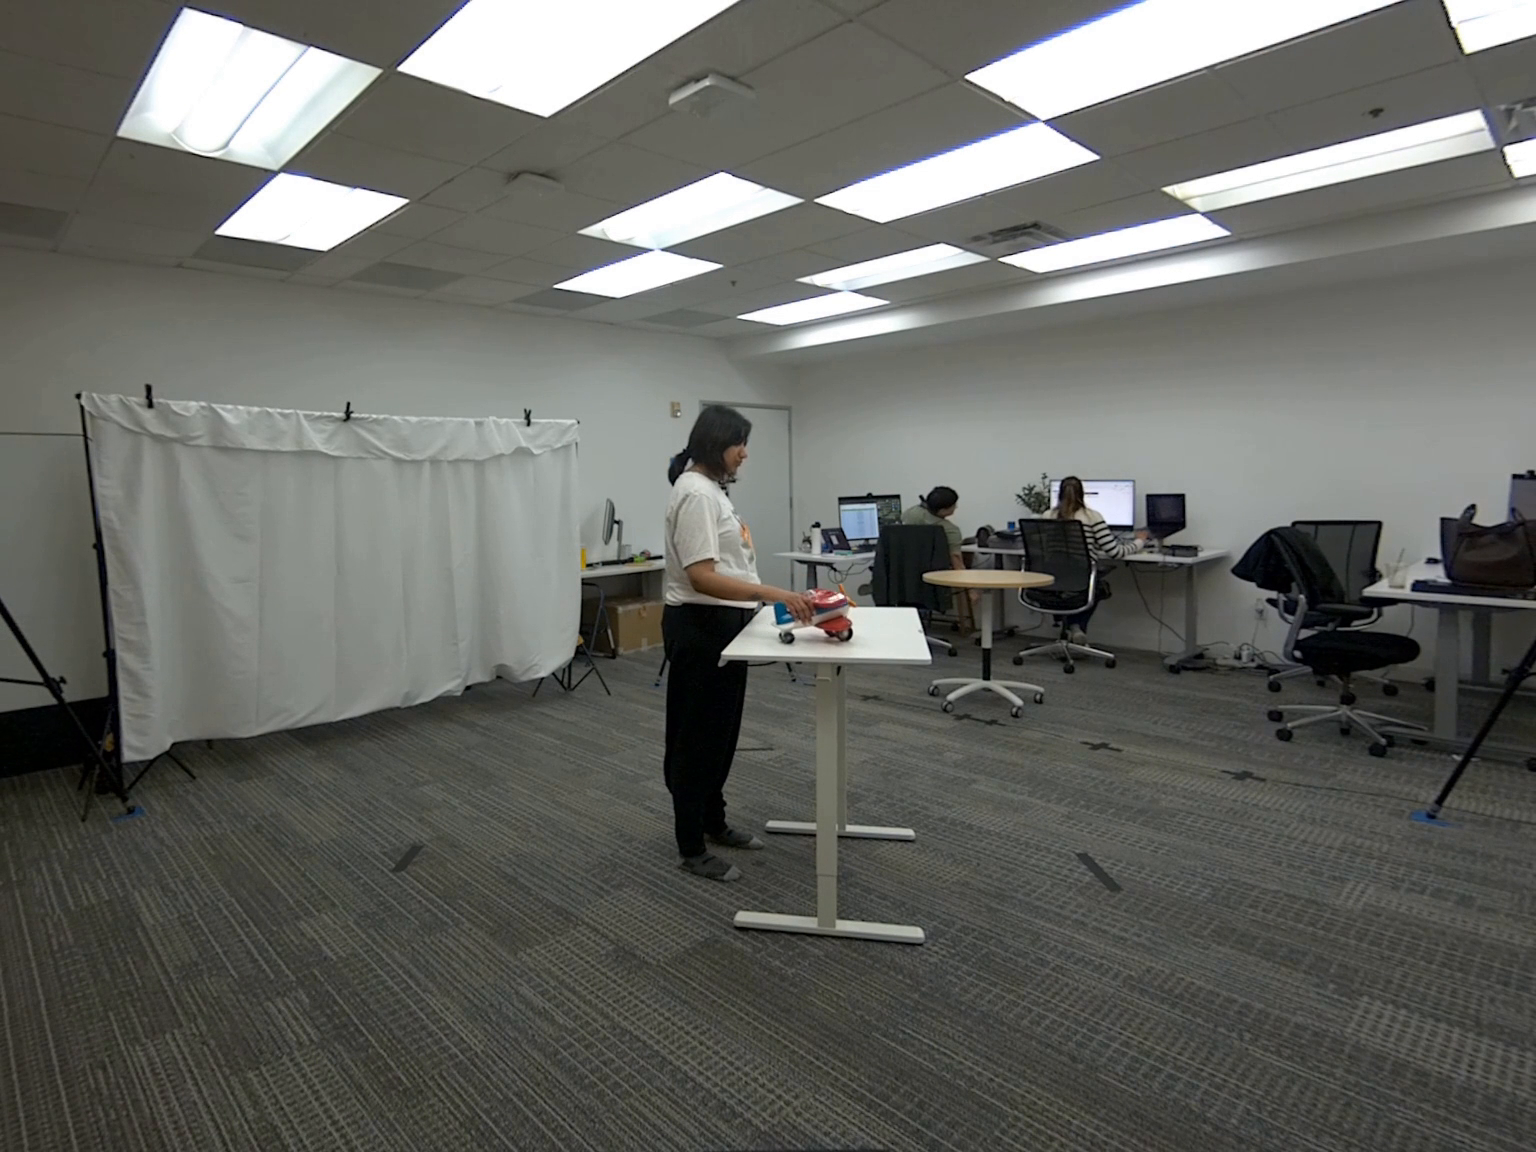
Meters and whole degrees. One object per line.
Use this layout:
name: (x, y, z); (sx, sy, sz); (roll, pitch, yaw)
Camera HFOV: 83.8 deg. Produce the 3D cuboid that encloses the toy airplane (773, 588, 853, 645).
toy airplane: (0.158, 0.132, 2.679); (0.259, 0.156, 0.252); (4, 7, 44)
